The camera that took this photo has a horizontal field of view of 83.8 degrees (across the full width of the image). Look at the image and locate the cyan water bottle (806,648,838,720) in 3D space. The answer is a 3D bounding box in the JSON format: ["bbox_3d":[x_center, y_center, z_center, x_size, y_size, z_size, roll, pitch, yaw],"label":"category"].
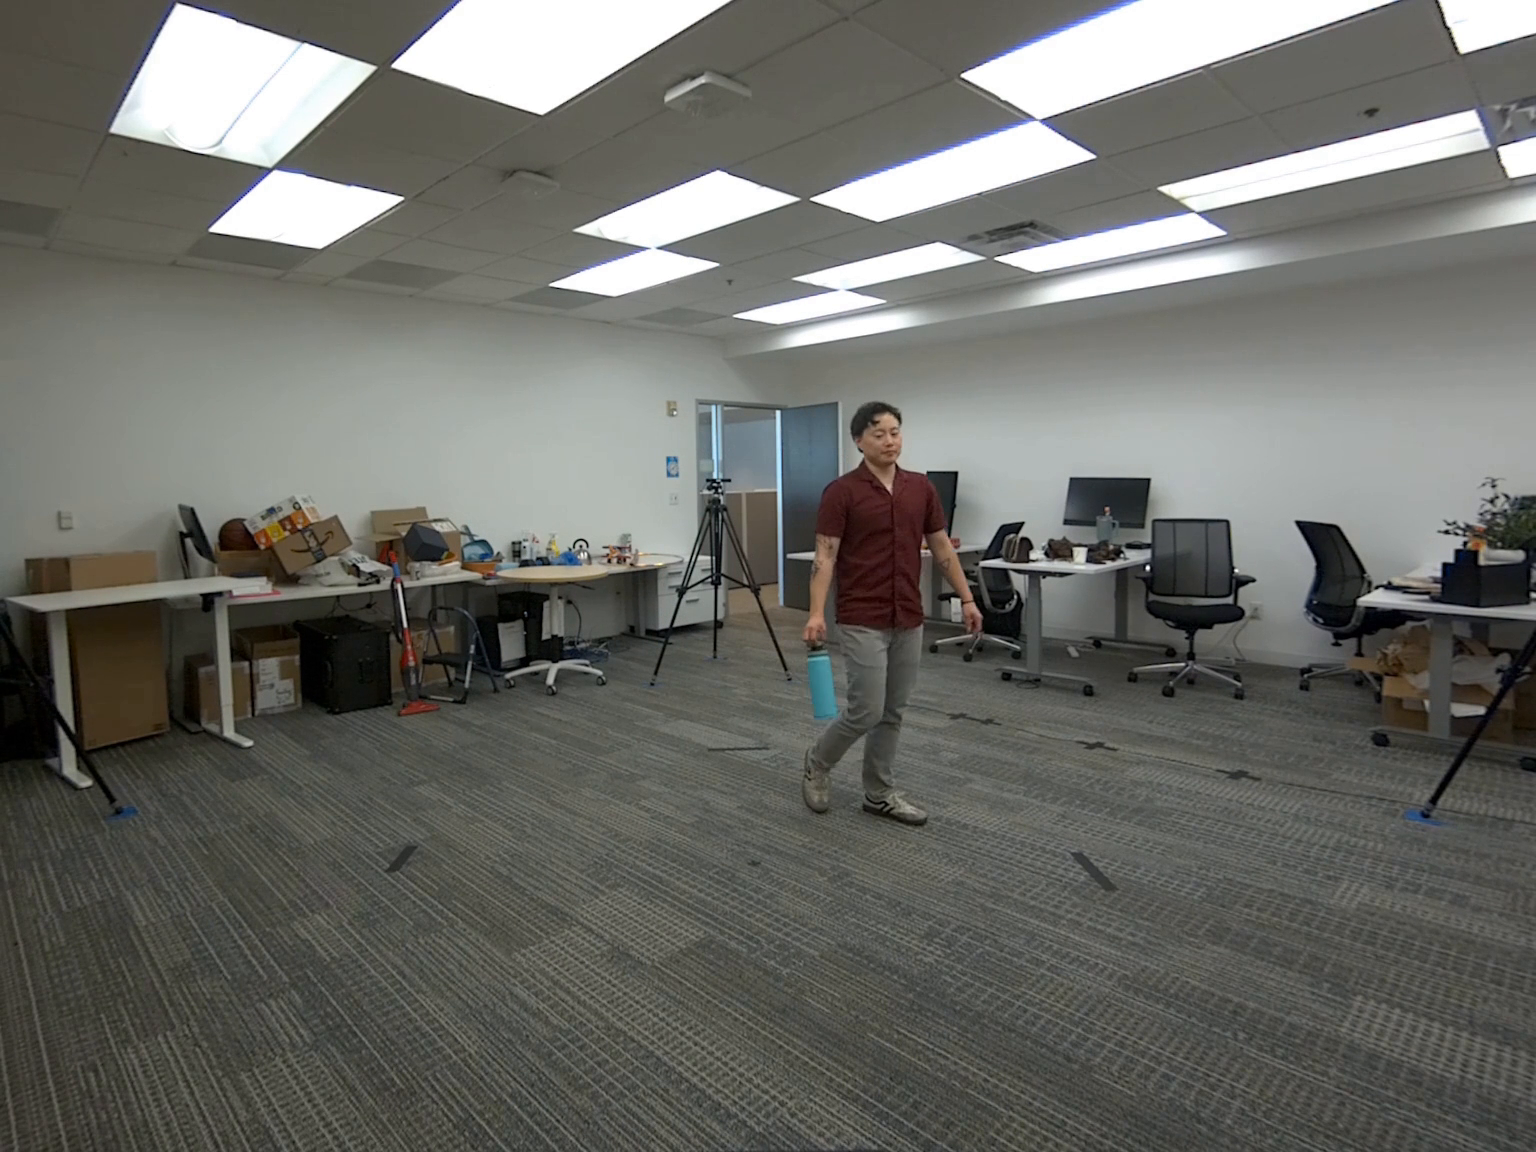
[{"bbox_3d":[0.199,0.394,3.228,0.092,0.286,0.091,-7,-9,-3],"label":"cyan water bottle"}]
